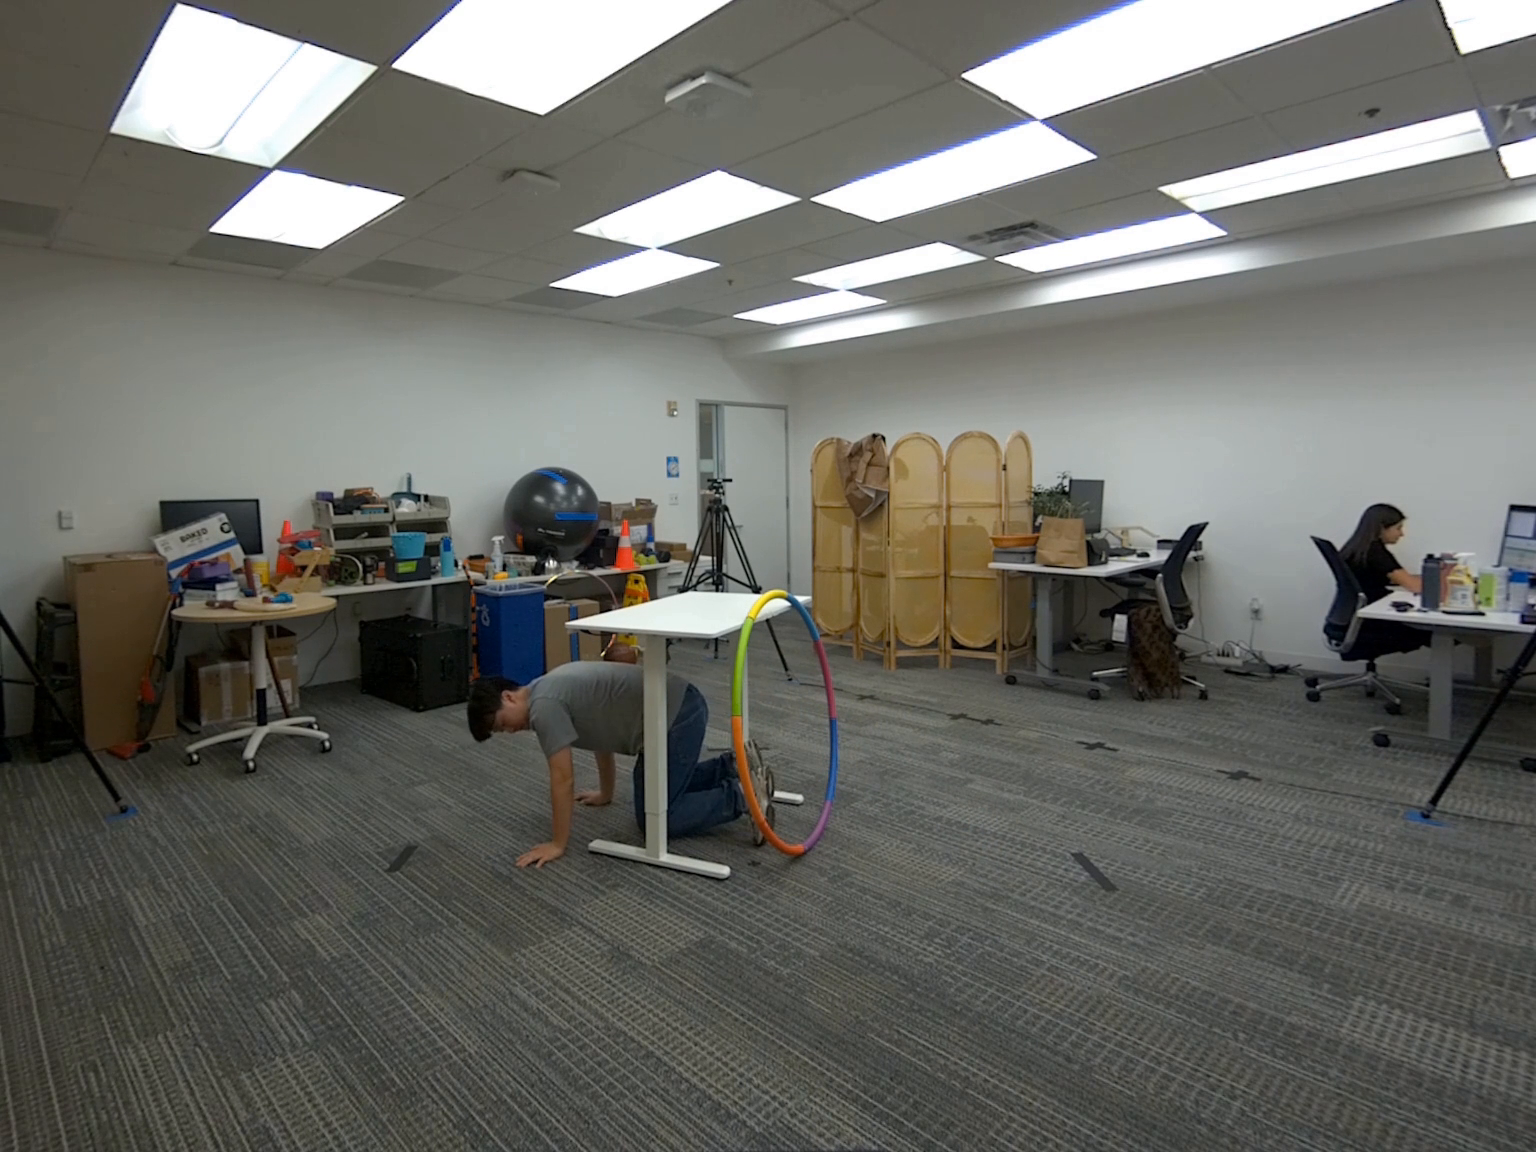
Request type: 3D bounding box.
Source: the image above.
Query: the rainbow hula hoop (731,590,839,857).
[{"bbox_3d":[0.088,0.545,3.263,0.036,0.979,0.962,-10,1,22],"label":"rainbow hula hoop"}]
